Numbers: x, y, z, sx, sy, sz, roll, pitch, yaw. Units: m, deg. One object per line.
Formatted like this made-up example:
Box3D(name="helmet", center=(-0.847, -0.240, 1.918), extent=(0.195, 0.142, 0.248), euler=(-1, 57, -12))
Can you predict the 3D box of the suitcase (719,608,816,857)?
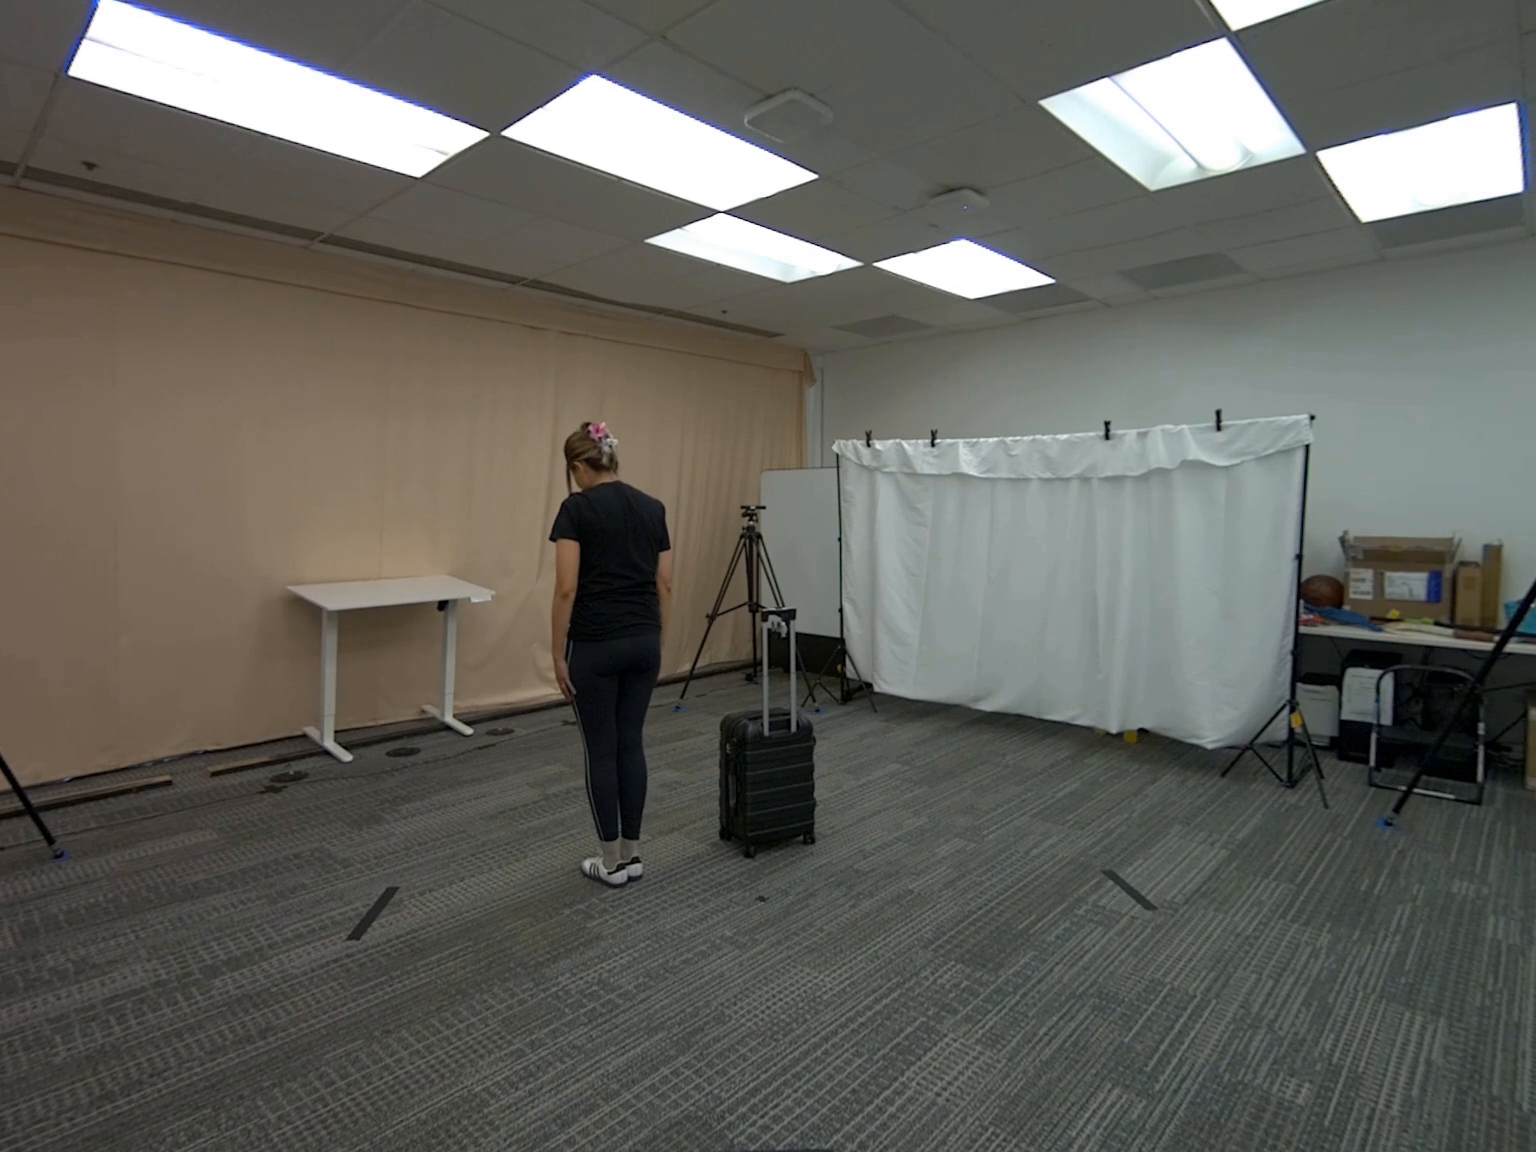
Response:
Box3D(name="suitcase", center=(-0.009, 0.626, 3.472), extent=(0.375, 0.978, 0.263), euler=(-2, 1, -25))
